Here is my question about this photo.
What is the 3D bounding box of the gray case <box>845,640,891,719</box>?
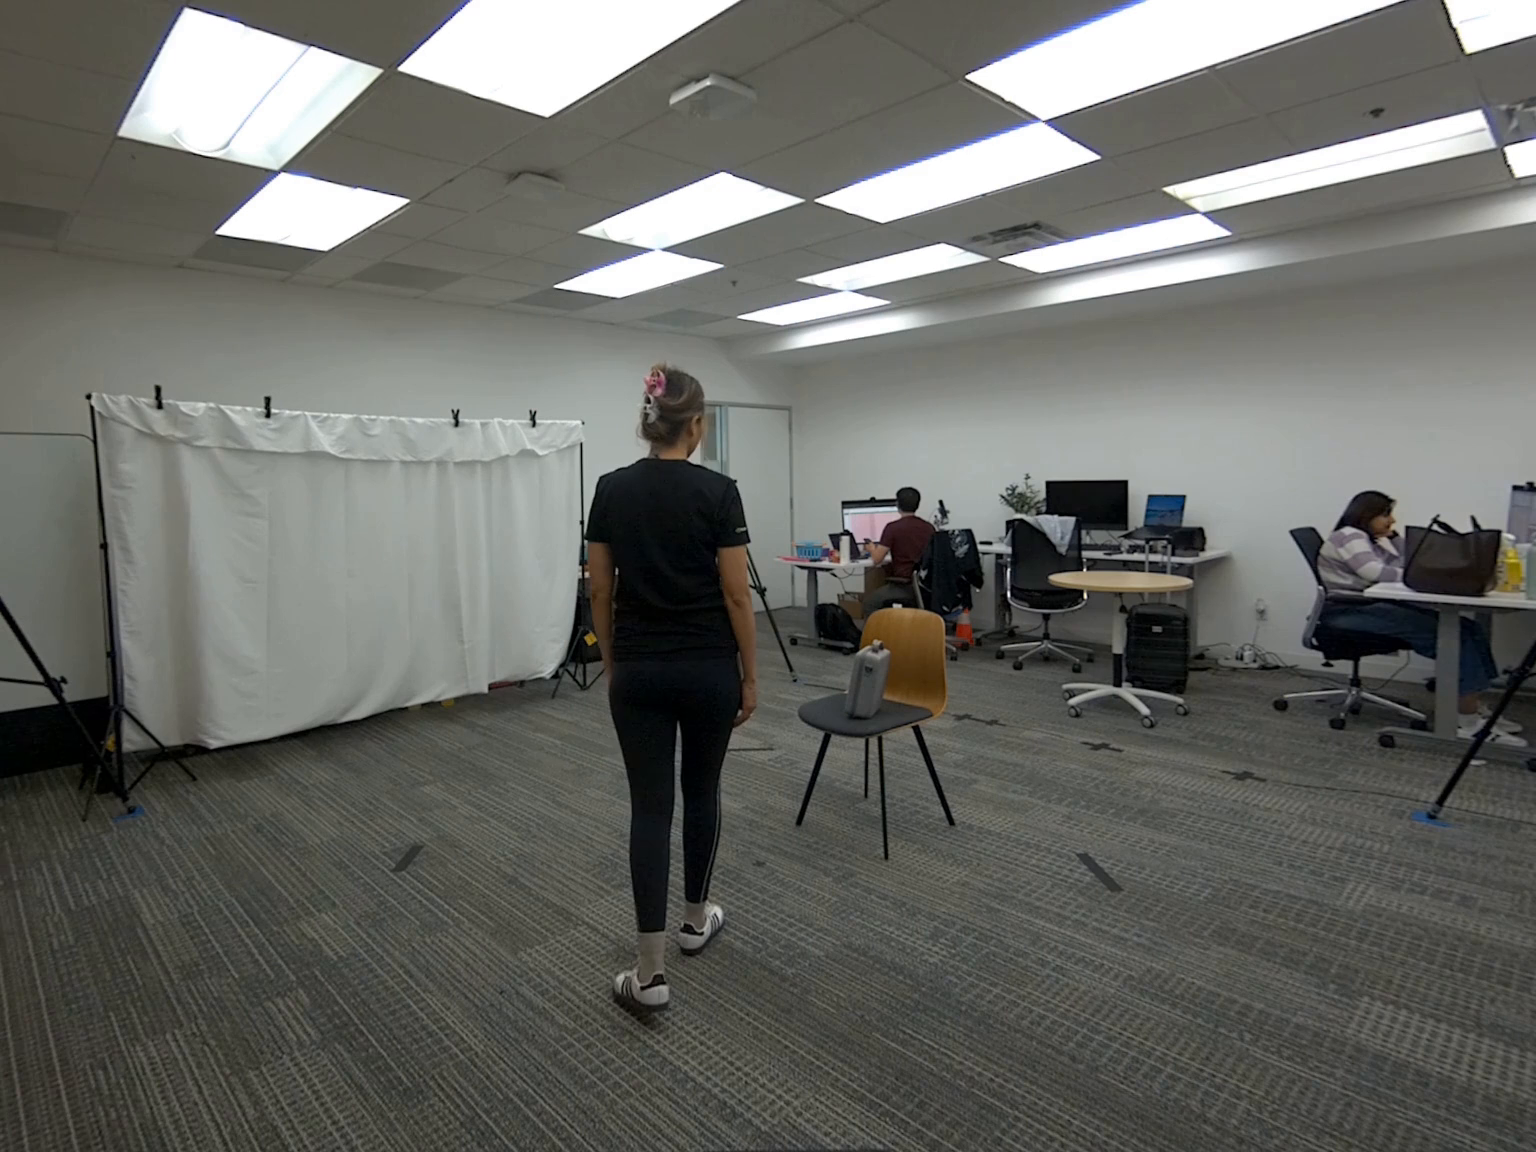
[{"bbox_3d":[0.398,0.406,3.351,0.106,0.260,0.252,9,5,19],"label":"gray case"}]
